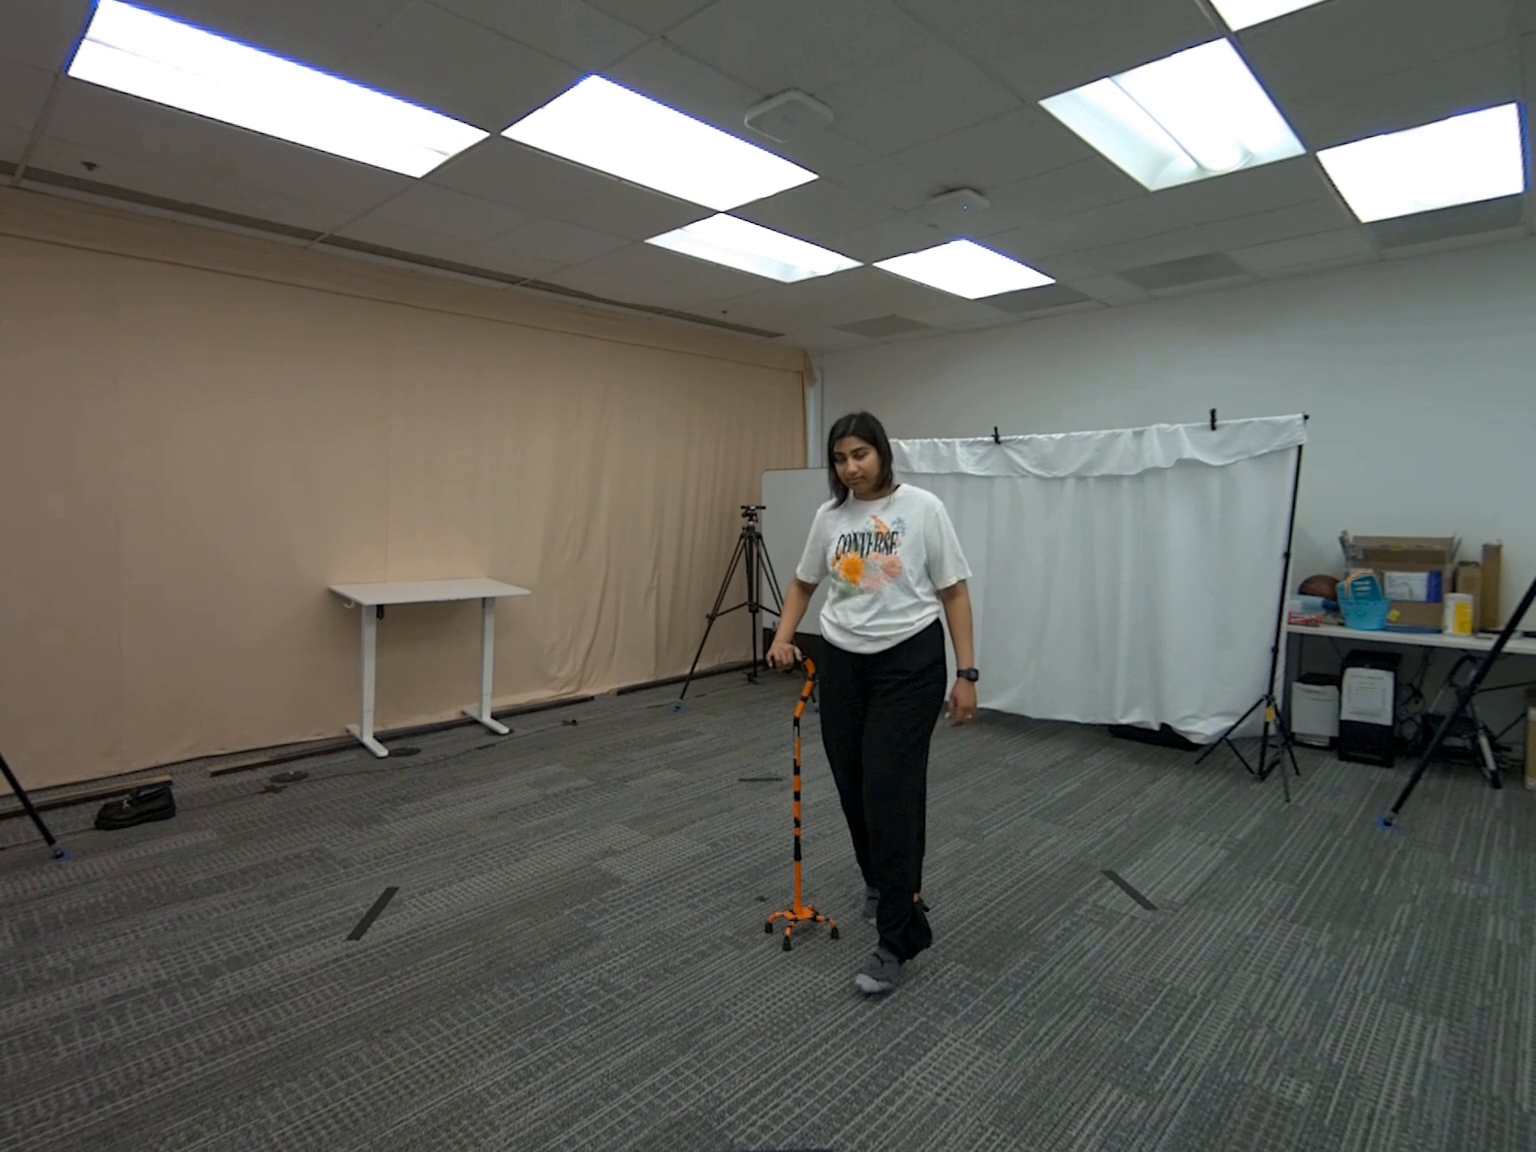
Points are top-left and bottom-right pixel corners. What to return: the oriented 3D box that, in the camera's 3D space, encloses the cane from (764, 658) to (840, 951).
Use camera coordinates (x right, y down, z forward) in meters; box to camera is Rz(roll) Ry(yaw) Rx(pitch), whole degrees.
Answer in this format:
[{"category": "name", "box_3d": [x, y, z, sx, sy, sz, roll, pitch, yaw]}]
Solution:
[{"category": "cane", "box_3d": [0.093, 0.716, 2.705, 0.201, 0.905, 0.155, -5, 4, -26]}]
